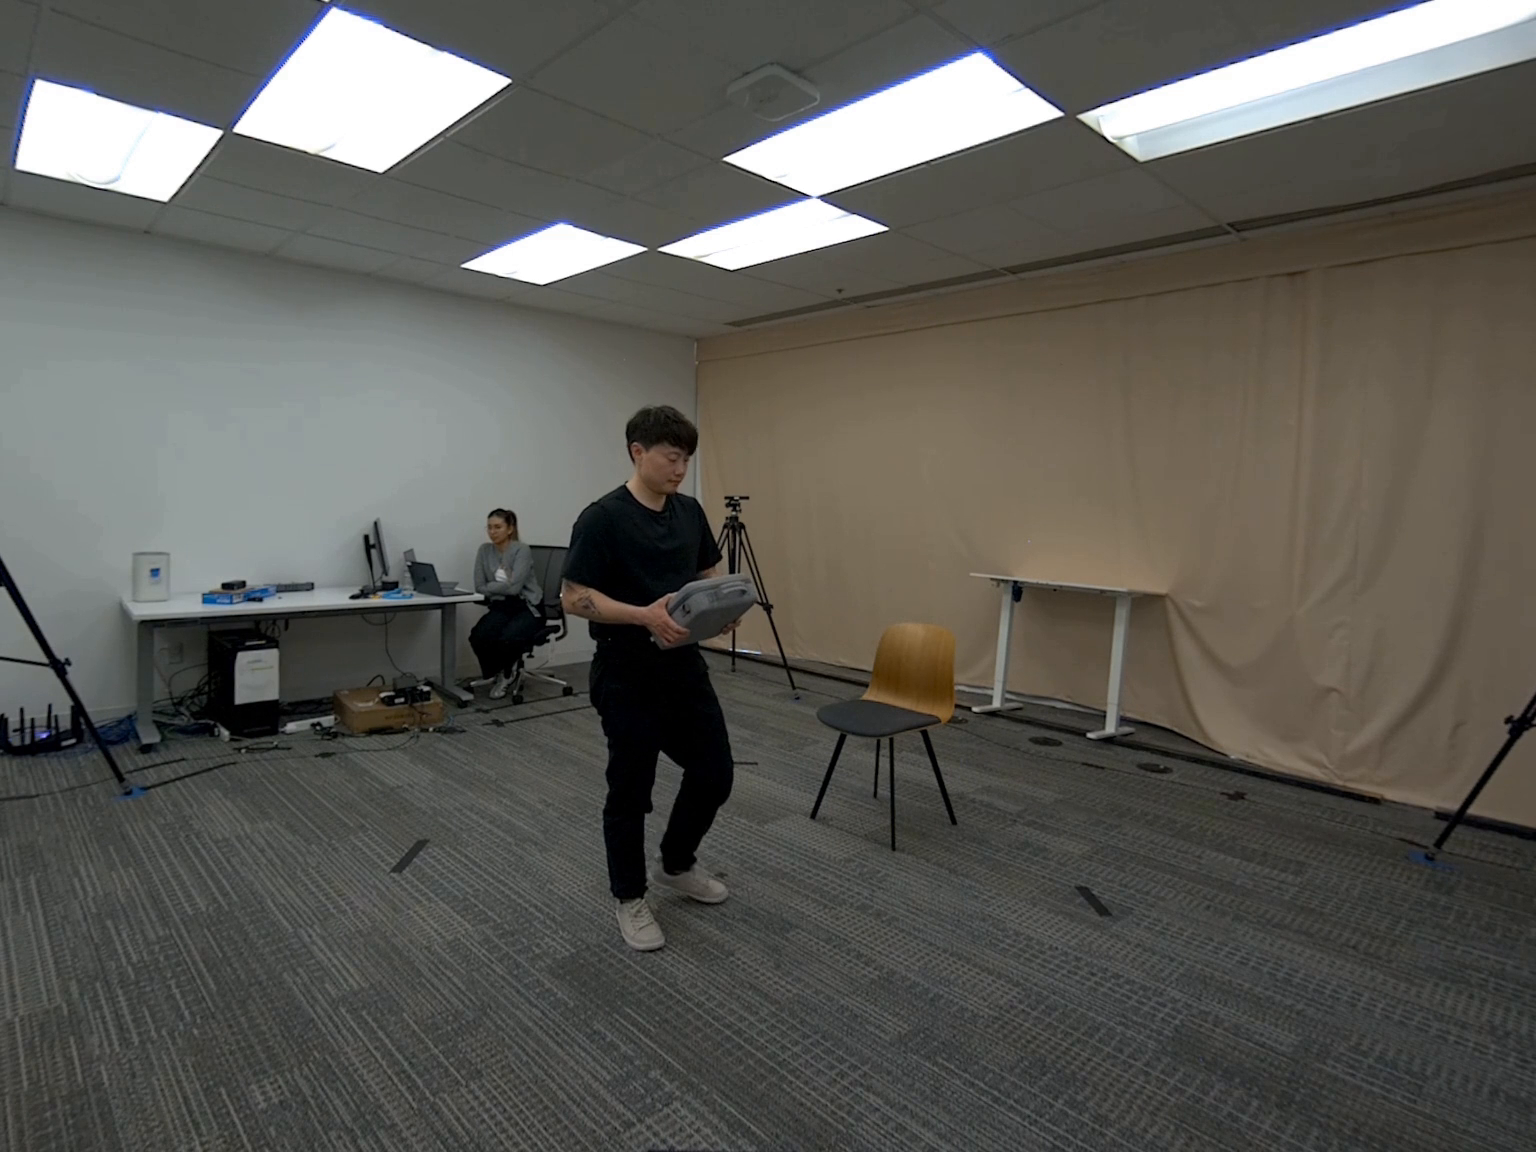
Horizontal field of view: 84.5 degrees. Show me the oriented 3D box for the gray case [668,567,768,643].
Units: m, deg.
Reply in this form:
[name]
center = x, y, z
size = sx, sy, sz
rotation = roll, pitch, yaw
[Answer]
[gray case]
center = -0.191, 0.096, 2.461
size = 0.252, 0.106, 0.262
rotation = -10, -20, -46
